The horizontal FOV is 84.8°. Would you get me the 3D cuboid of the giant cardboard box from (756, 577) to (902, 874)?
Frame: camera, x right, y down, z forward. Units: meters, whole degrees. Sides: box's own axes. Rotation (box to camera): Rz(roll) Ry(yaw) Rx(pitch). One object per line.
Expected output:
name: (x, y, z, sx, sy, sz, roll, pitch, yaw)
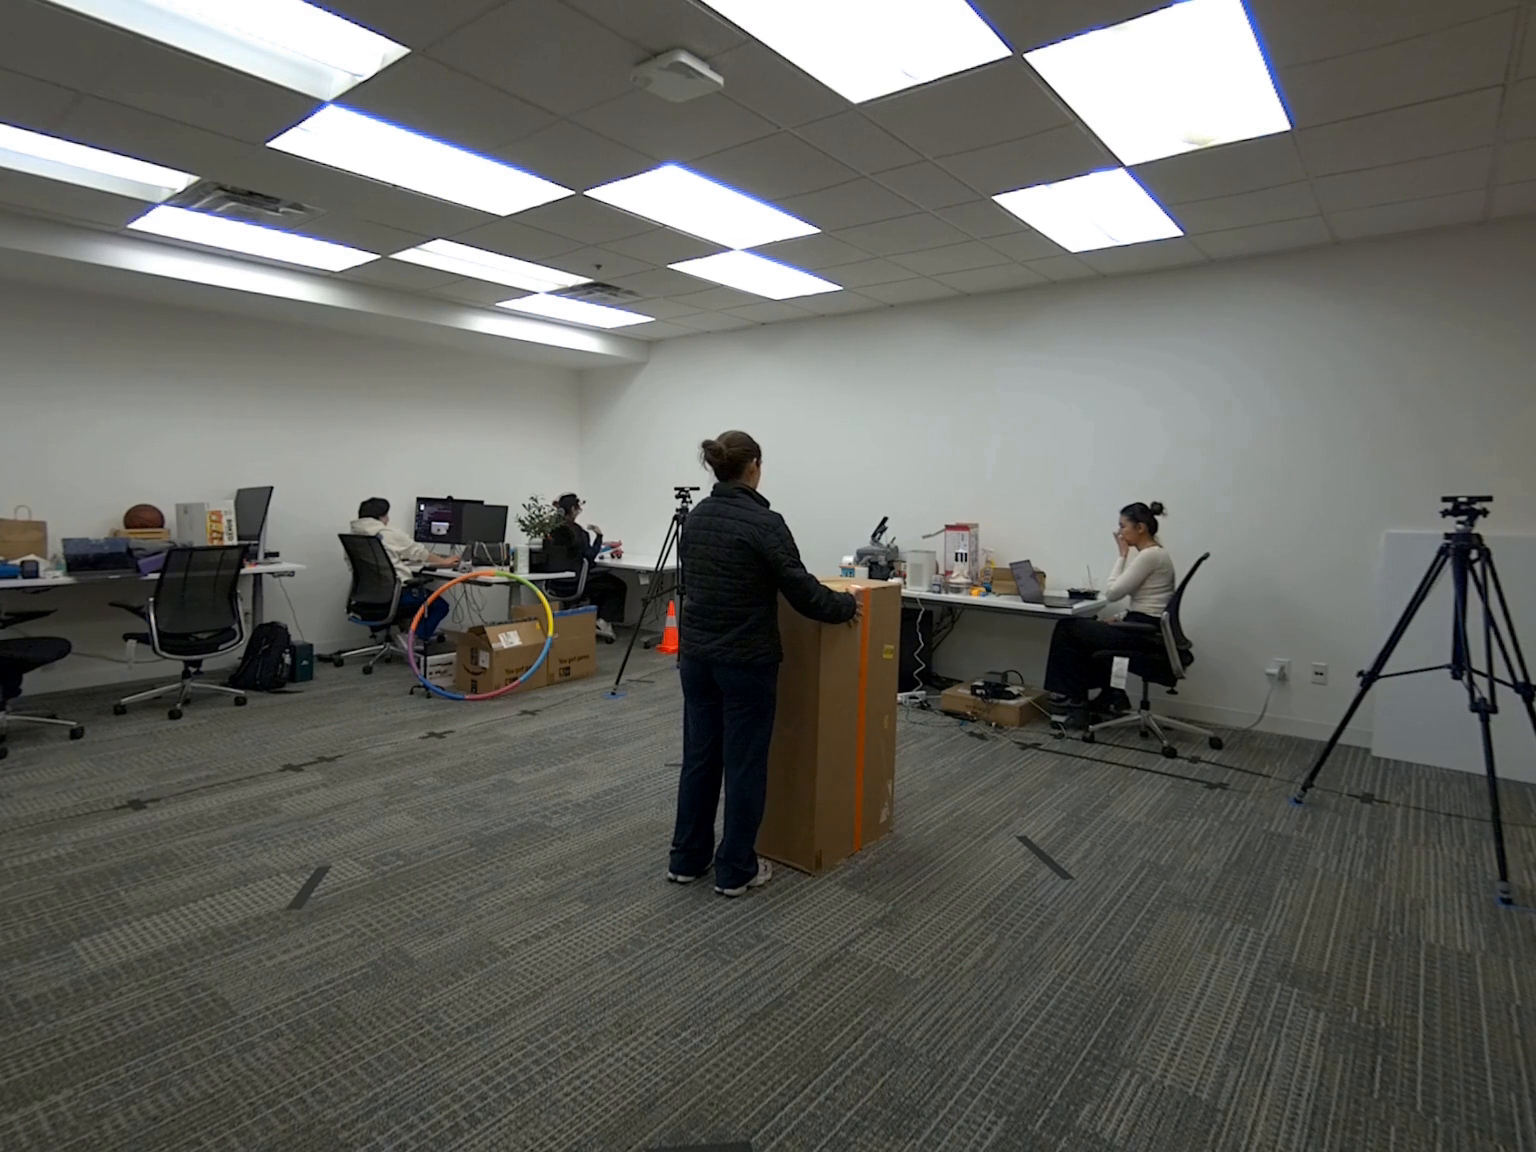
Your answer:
giant cardboard box: (0.212, 0.537, 3.401, 0.440, 1.023, 0.560, 3, 4, 39)
